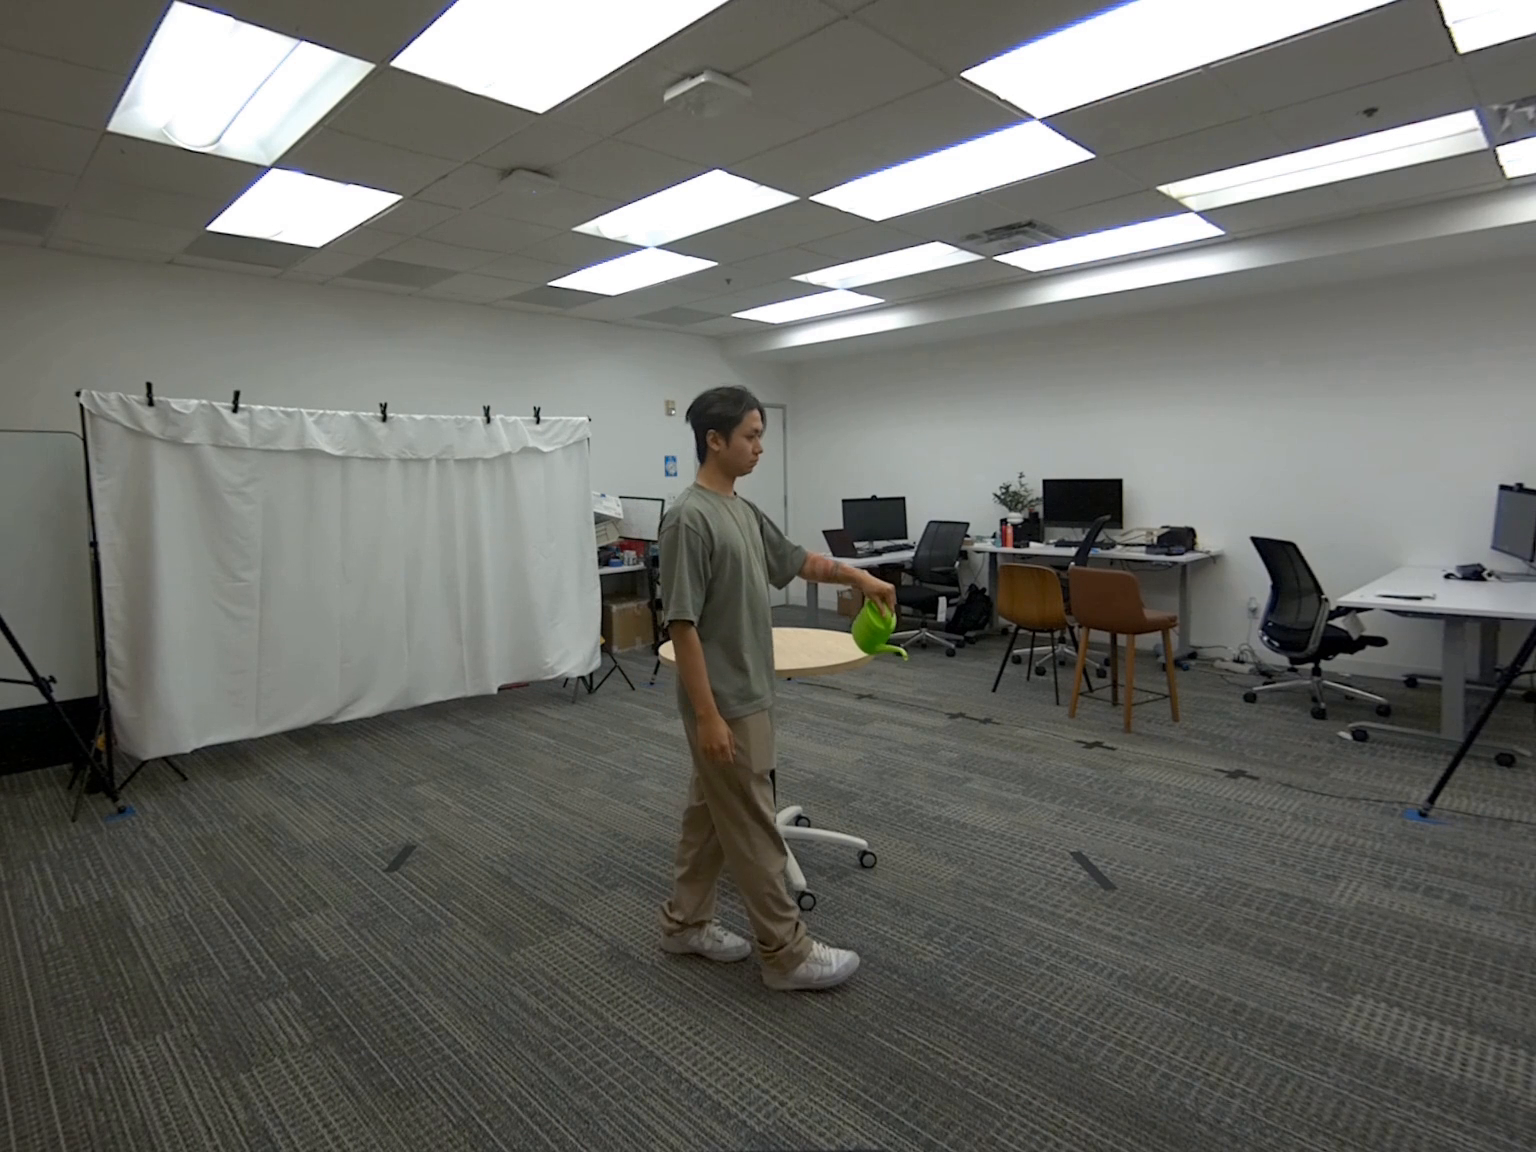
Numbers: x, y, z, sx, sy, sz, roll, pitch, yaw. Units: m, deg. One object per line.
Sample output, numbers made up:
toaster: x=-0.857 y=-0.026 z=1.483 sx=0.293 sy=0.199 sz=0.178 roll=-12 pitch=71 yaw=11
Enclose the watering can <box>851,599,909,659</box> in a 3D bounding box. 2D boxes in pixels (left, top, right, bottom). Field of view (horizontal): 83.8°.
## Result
watering can: x=0.332 y=0.174 z=2.564 sx=0.097 sy=0.285 sz=0.174 roll=12 pitch=-42 yaw=-6
